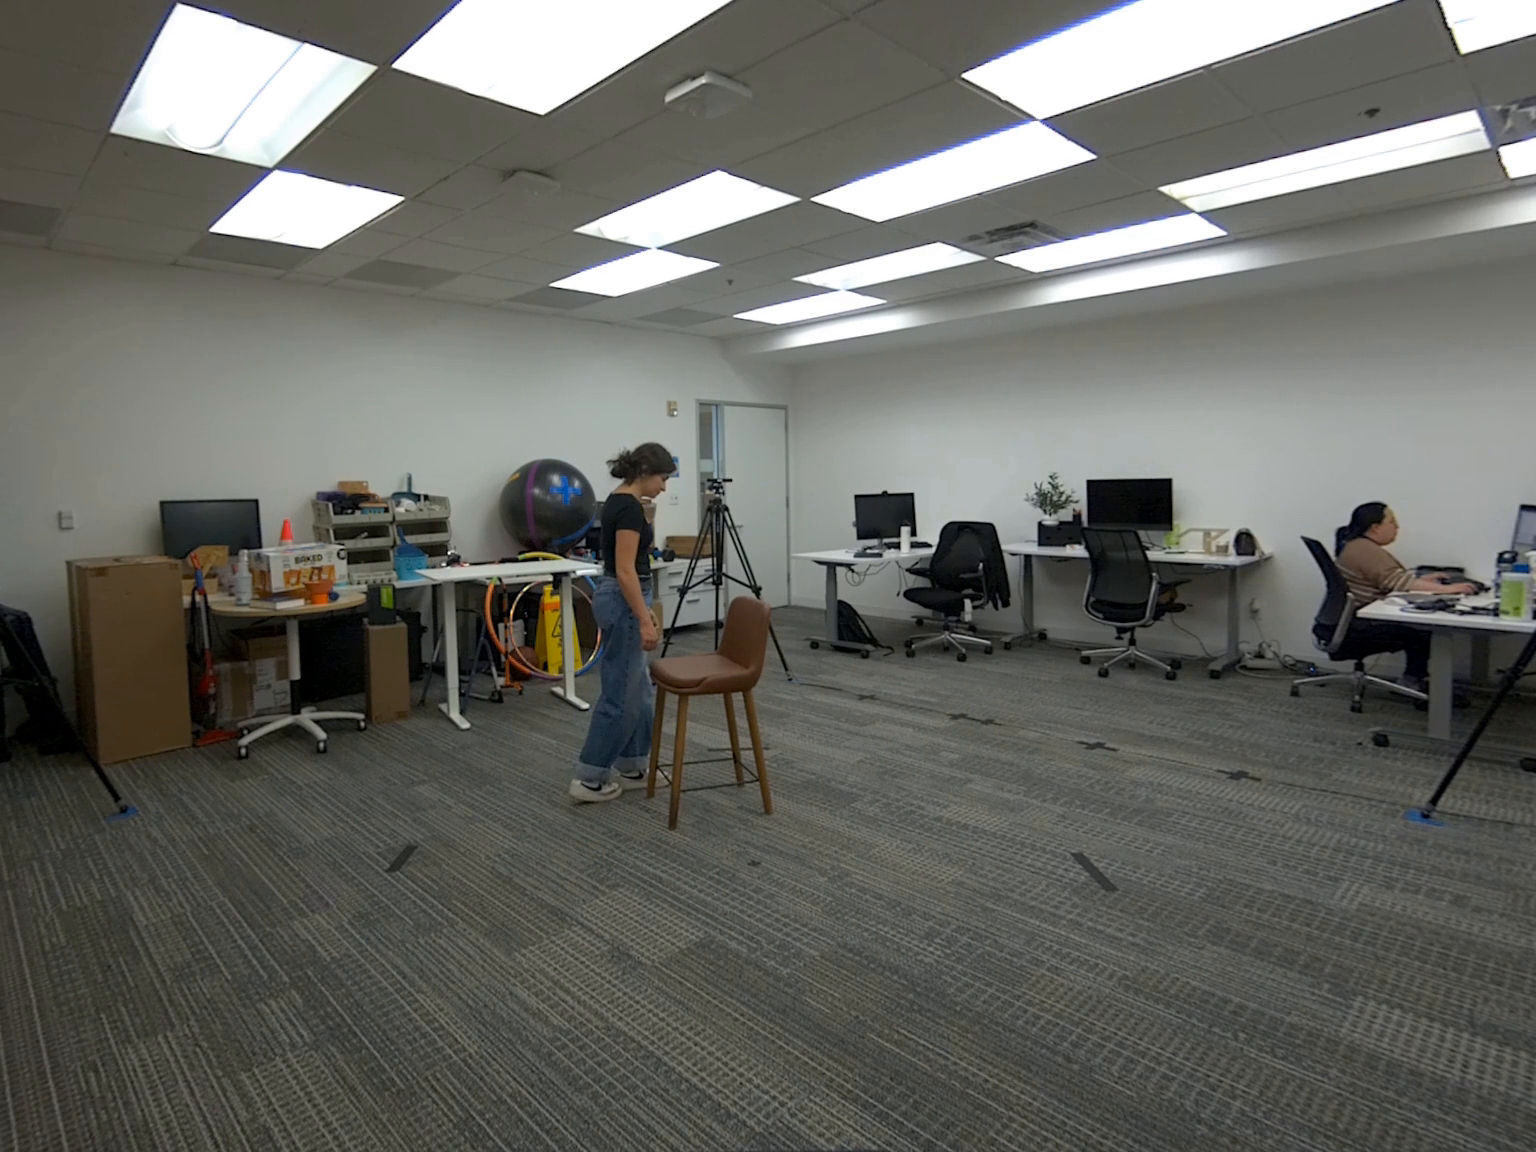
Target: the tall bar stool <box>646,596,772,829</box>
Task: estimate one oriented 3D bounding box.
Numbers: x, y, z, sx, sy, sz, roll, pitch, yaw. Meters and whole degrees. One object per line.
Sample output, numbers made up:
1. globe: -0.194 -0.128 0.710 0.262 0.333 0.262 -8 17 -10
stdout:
1. tall bar stool: -0.258 0.552 3.648 0.459 0.887 0.466 0 3 -20
